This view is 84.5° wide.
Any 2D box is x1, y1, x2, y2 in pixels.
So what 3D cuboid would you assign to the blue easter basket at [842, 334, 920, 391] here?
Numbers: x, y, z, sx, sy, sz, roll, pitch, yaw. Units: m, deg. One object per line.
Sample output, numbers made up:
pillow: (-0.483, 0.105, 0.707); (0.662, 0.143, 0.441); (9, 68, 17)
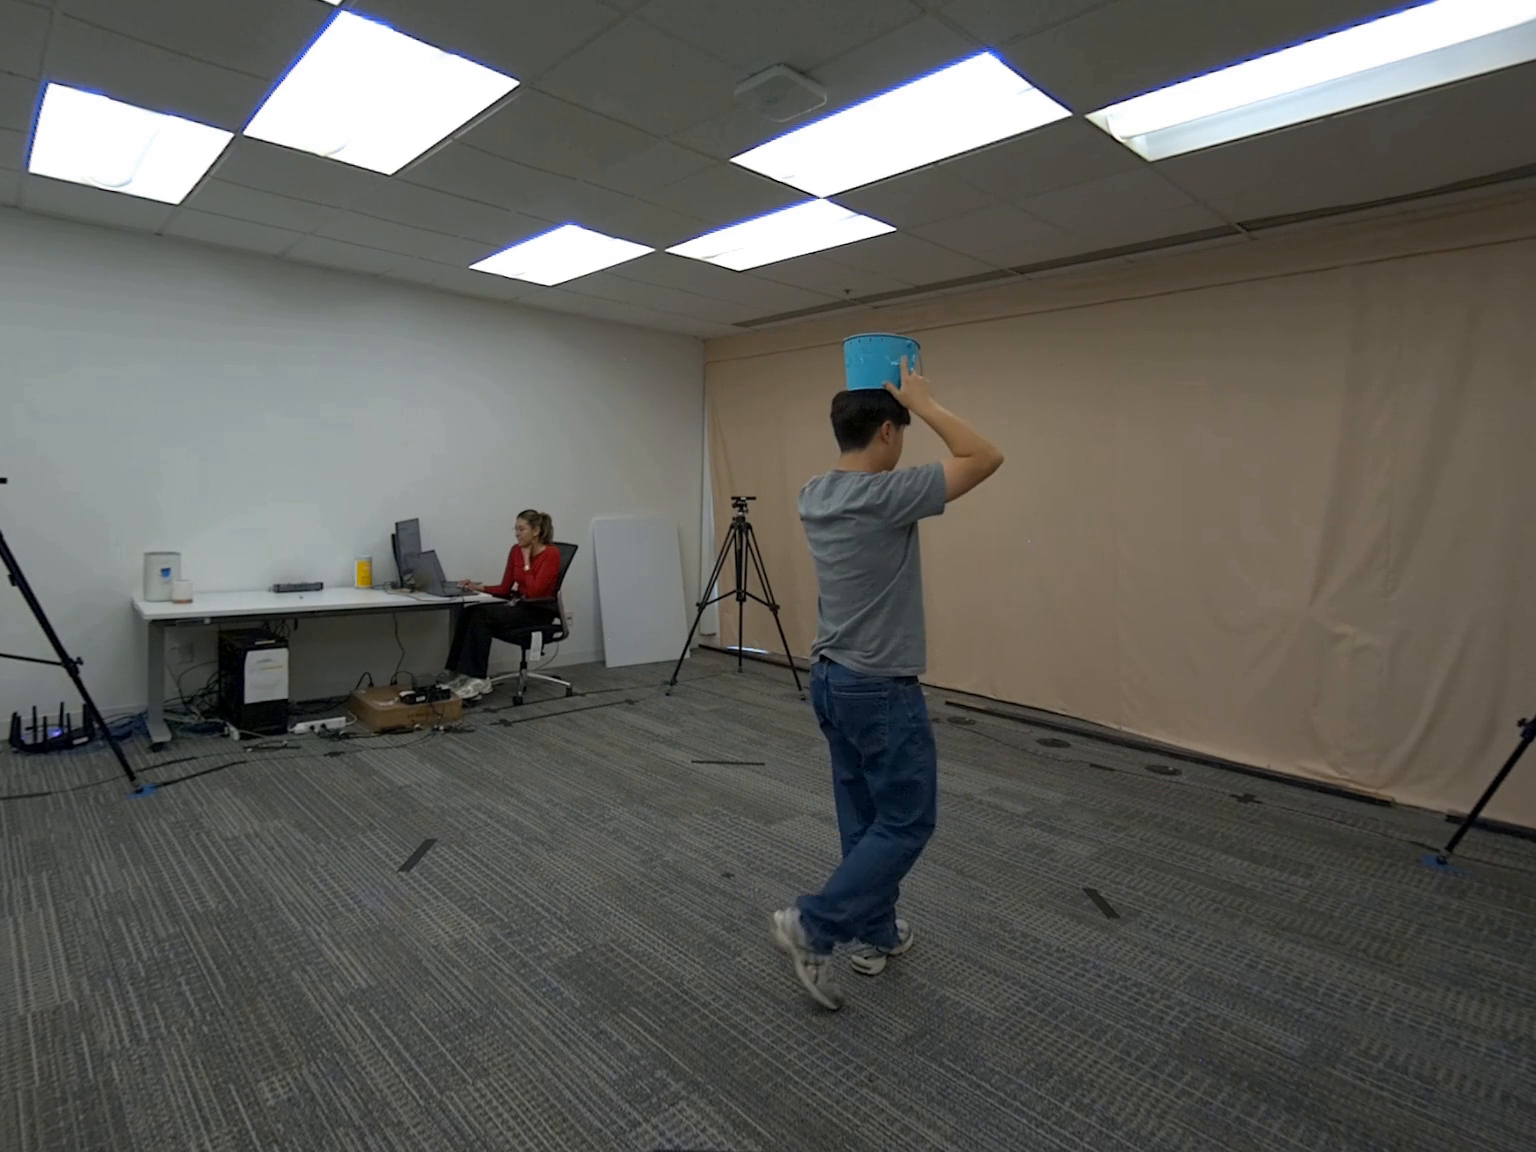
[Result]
blue easter basket: (0.338, -0.611, 2.489); (0.243, 0.156, 0.243); (6, 0, -1)
